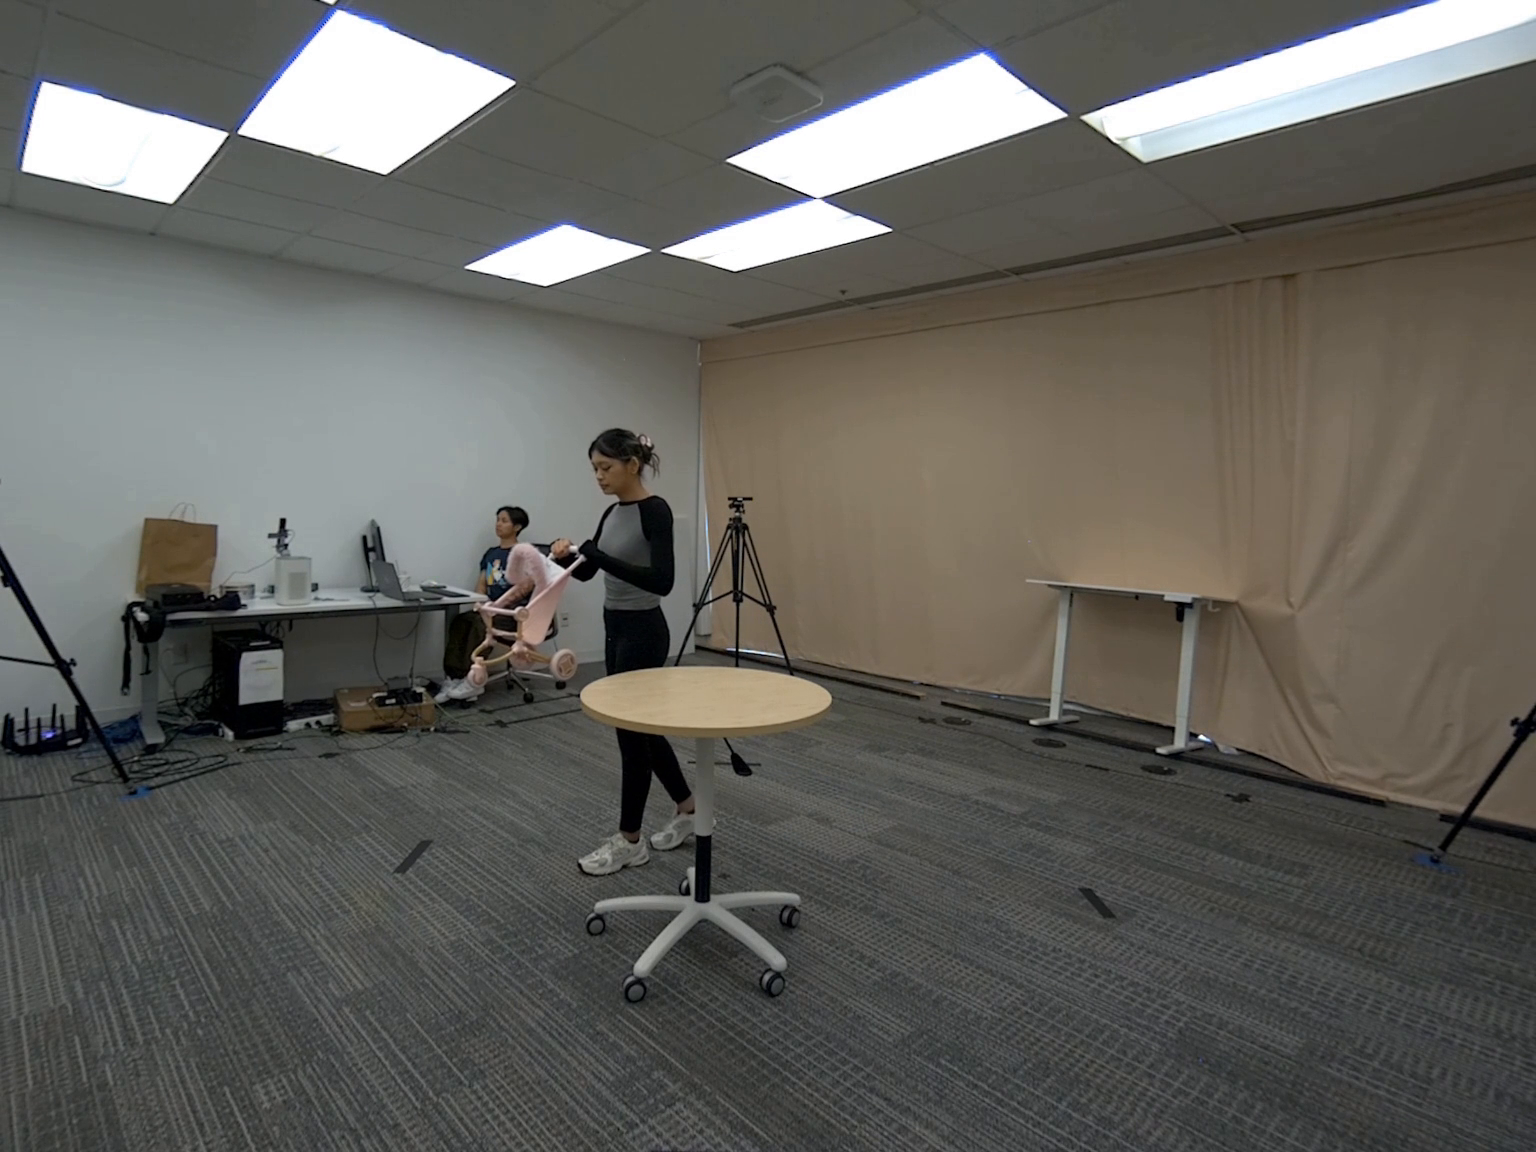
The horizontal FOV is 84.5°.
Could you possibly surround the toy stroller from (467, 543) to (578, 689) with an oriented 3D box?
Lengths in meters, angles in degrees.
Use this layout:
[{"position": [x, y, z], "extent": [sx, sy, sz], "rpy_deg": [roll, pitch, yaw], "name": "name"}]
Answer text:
[{"position": [-0.837, 0.129, 2.874], "extent": [0.332, 0.537, 0.288], "rpy_deg": [15, -8, -43], "name": "toy stroller"}]
